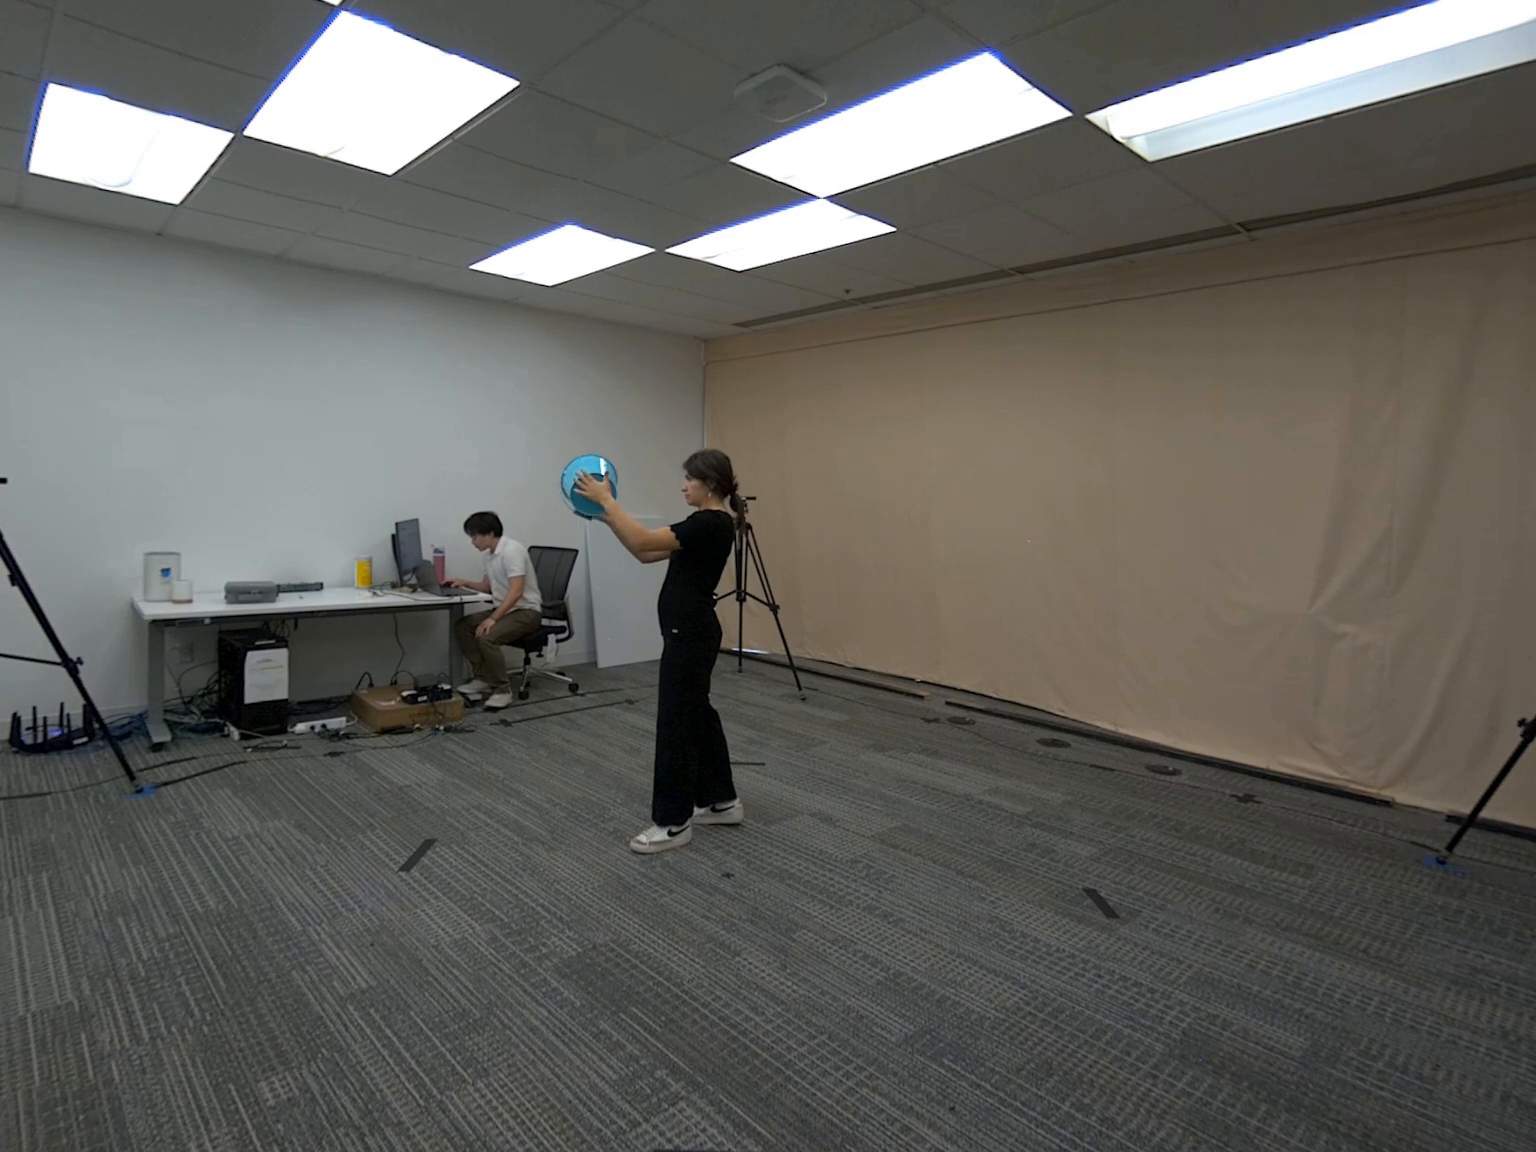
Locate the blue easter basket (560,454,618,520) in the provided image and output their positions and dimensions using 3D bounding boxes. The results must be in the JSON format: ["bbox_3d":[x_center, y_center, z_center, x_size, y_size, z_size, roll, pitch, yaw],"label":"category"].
[{"bbox_3d":[-0.715,-0.351,3.398,0.241,0.240,0.160,0,25,-15],"label":"blue easter basket"}]
